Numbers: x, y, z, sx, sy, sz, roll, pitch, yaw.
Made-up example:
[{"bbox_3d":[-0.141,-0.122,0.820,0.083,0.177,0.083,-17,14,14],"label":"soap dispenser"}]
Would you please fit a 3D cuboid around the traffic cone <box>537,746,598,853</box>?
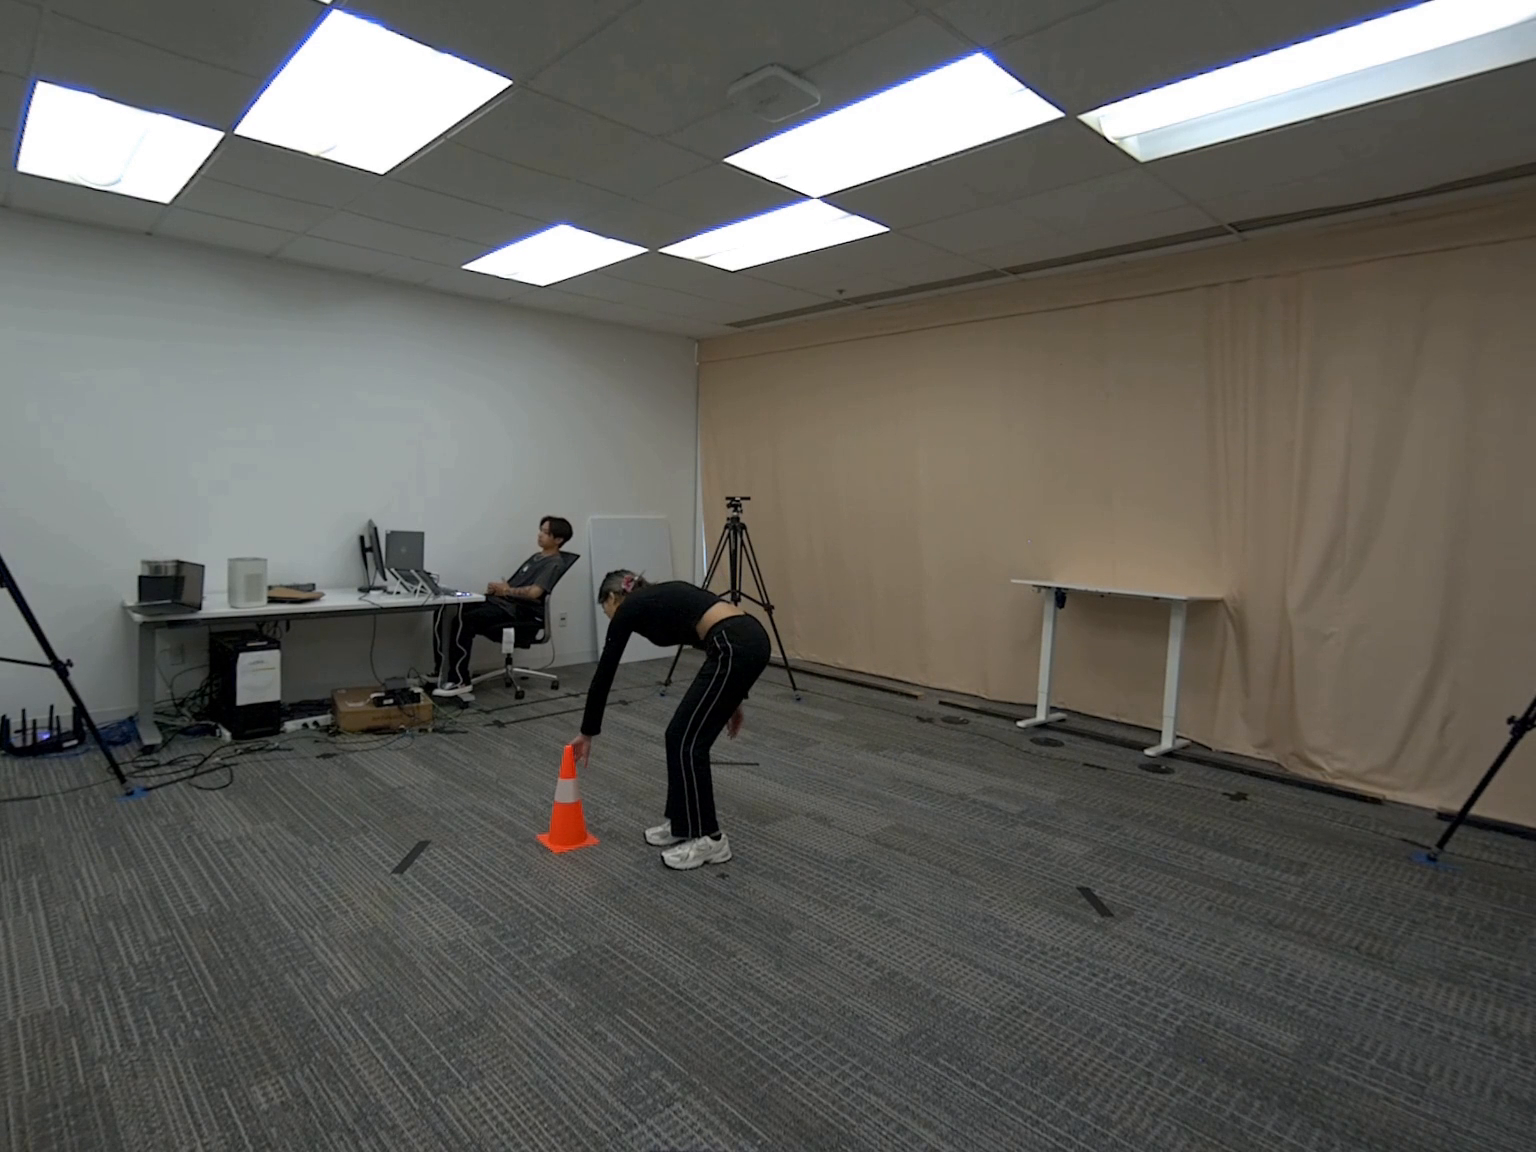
[{"bbox_3d":[-0.811,0.875,3.396,0.200,0.383,0.208,-1,4,-40],"label":"traffic cone"}]
